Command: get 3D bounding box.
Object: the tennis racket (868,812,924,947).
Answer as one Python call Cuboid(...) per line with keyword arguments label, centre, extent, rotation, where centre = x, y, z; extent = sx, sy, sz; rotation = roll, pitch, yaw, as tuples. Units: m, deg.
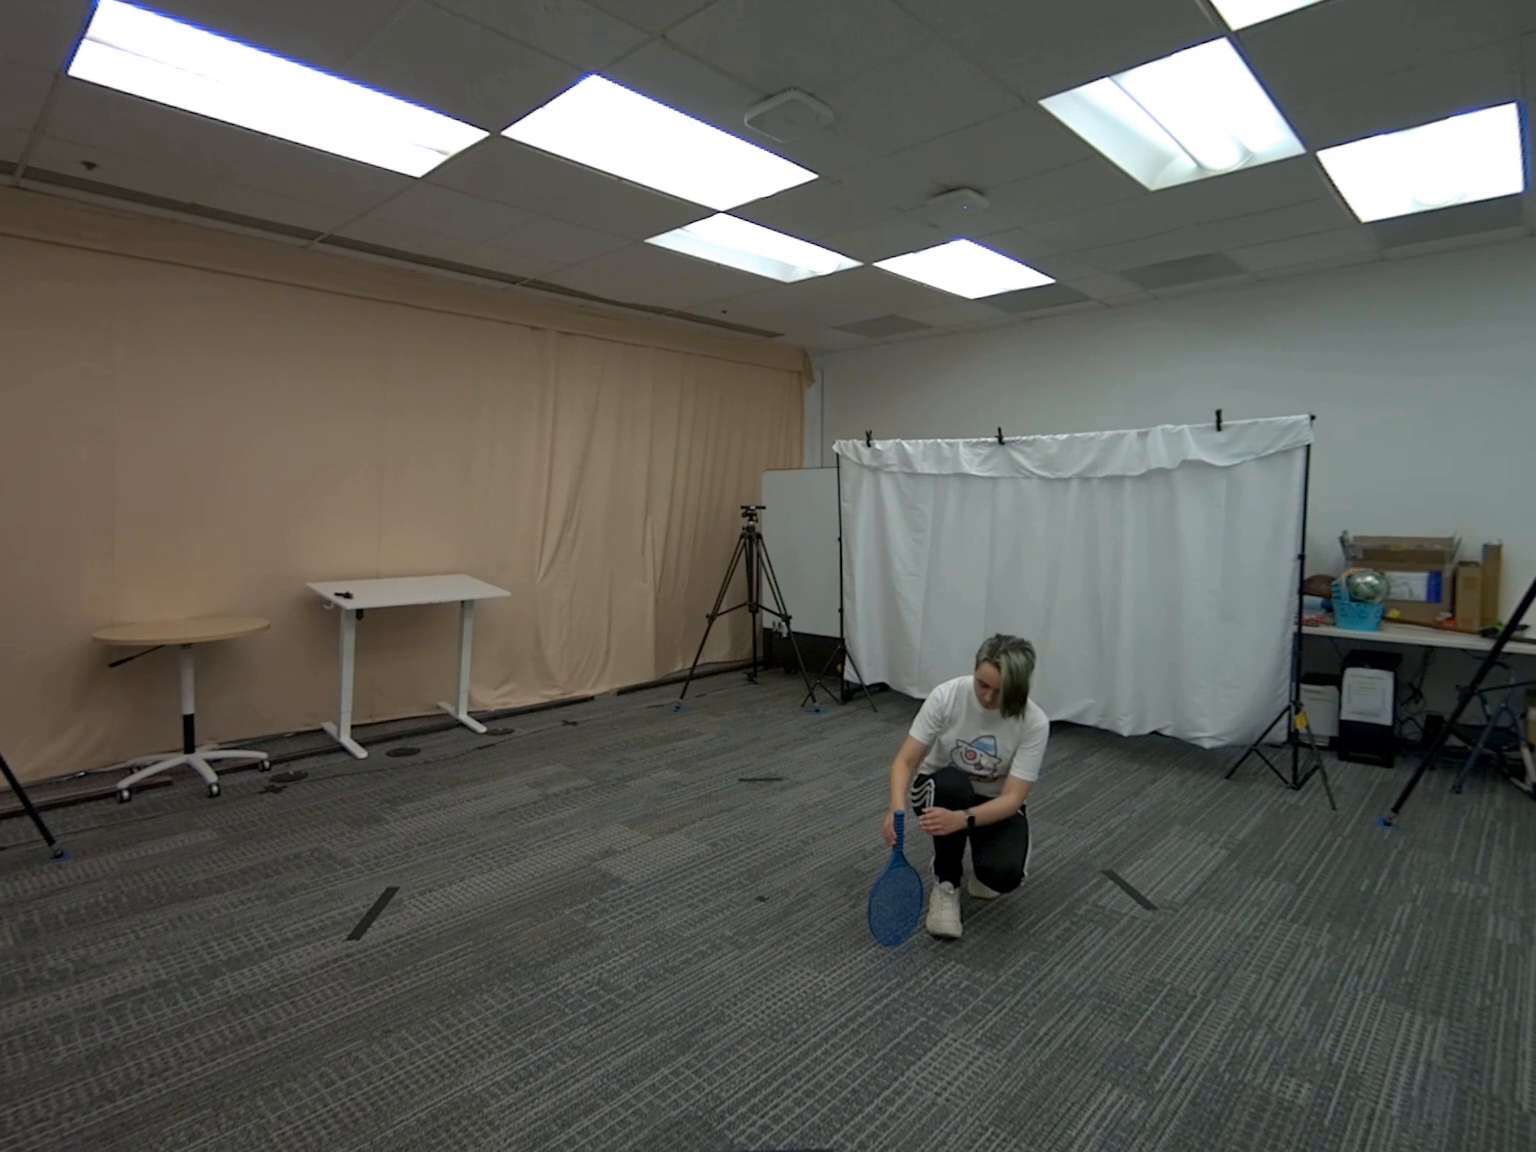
Cuboid(label="tennis racket", centre=(0.409, 0.954, 2.649), extent=(0.209, 0.432, 0.032), rotation=(-1, 5, -24))
